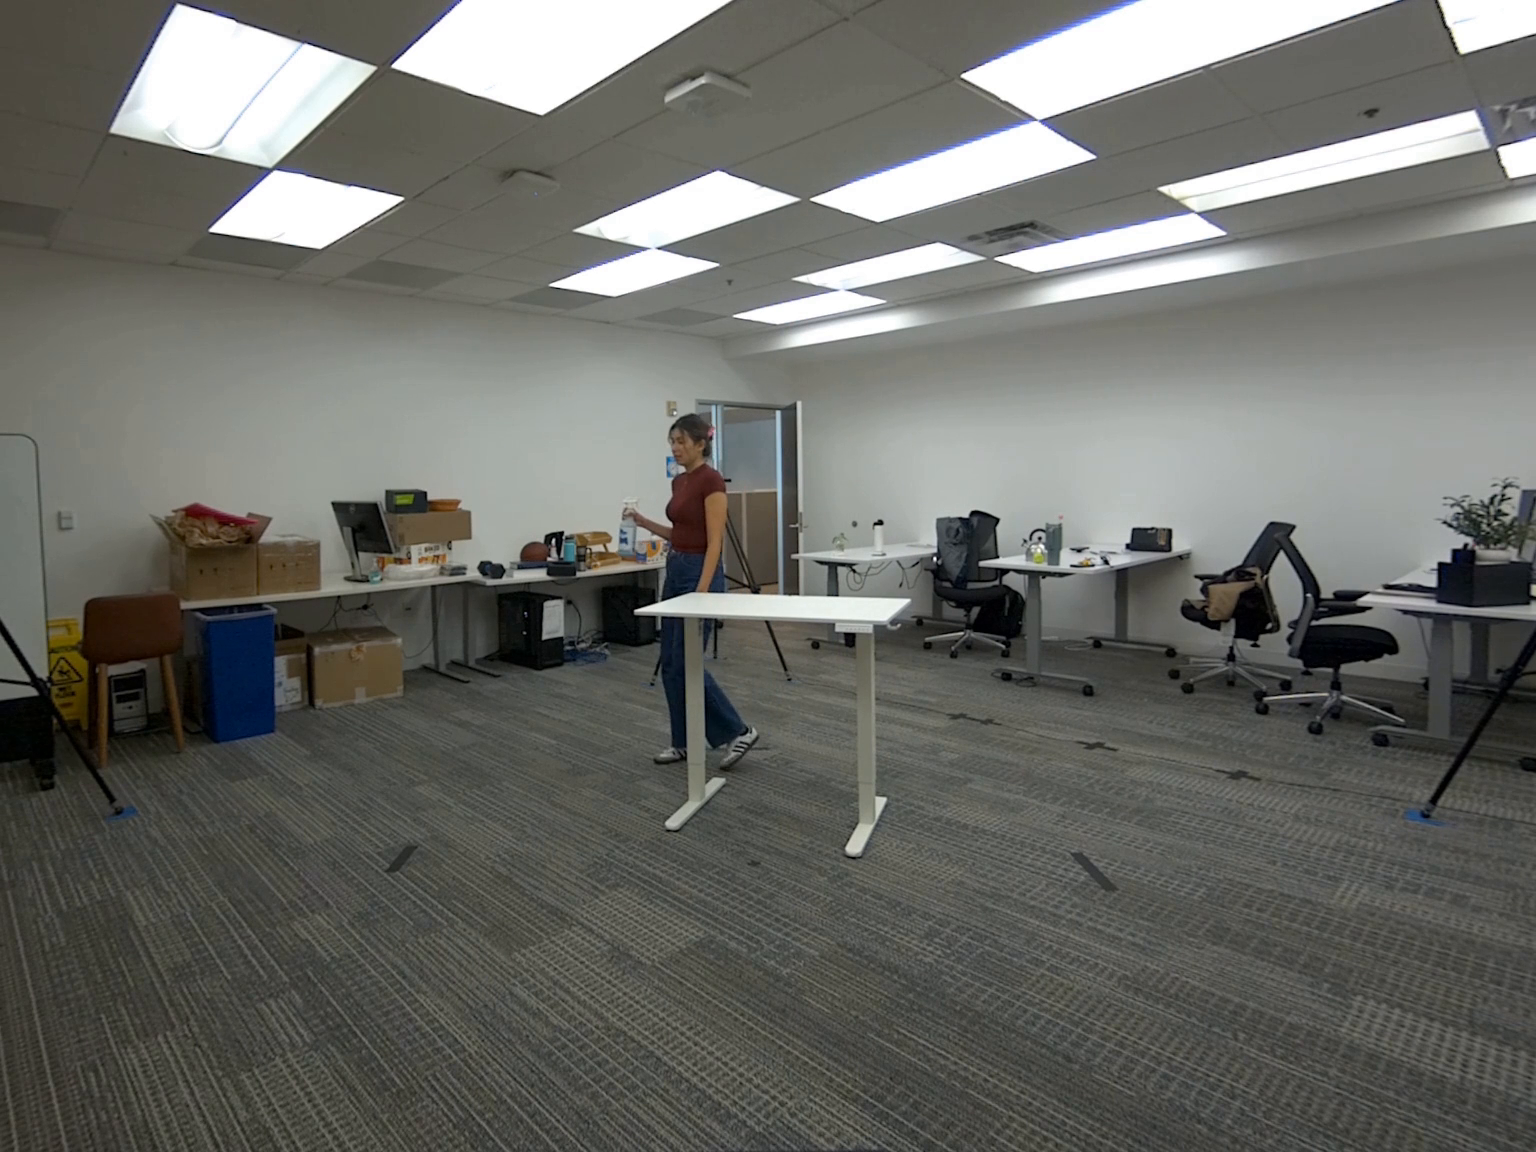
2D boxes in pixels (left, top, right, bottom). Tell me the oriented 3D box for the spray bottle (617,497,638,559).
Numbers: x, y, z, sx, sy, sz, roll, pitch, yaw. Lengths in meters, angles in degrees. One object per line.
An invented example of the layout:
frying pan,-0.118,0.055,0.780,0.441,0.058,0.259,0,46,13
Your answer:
spray bottle,-0.696,-0.249,4.297,0.090,0.297,0.087,6,2,-3
